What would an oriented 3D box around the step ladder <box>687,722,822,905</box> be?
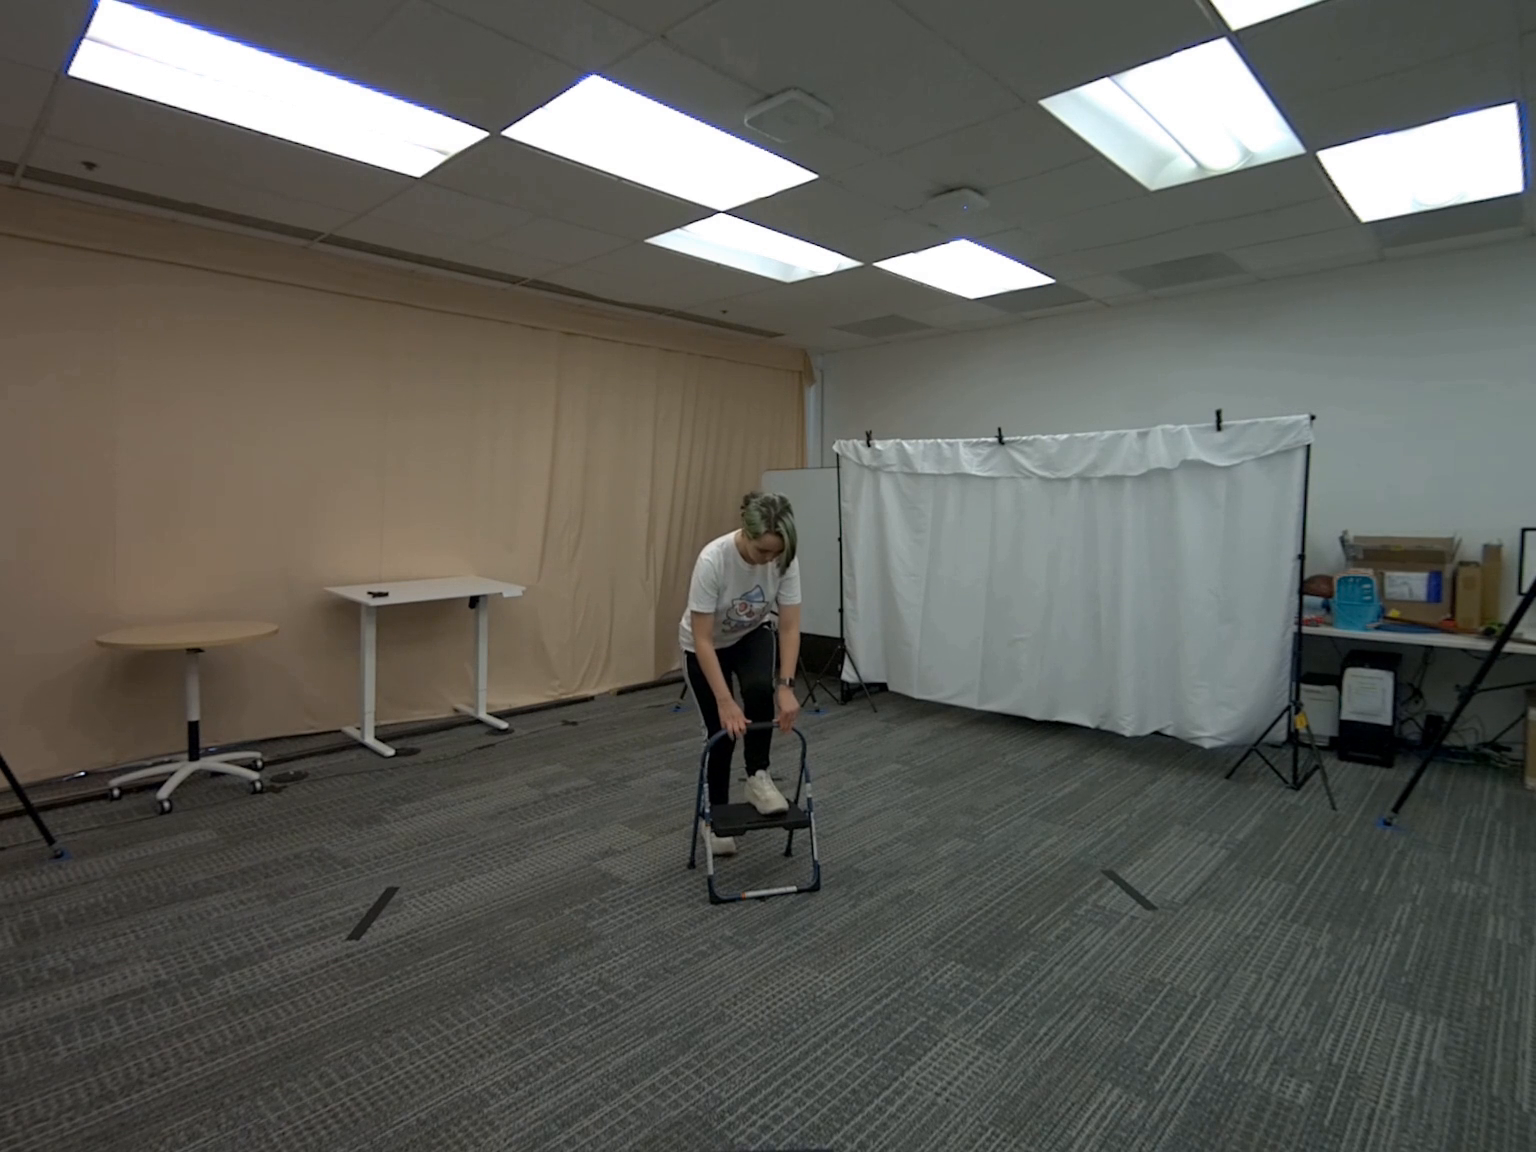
[{"bbox_3d":[-0.054,0.834,3.136,0.423,0.605,0.356,-1,3,-17],"label":"step ladder"}]
